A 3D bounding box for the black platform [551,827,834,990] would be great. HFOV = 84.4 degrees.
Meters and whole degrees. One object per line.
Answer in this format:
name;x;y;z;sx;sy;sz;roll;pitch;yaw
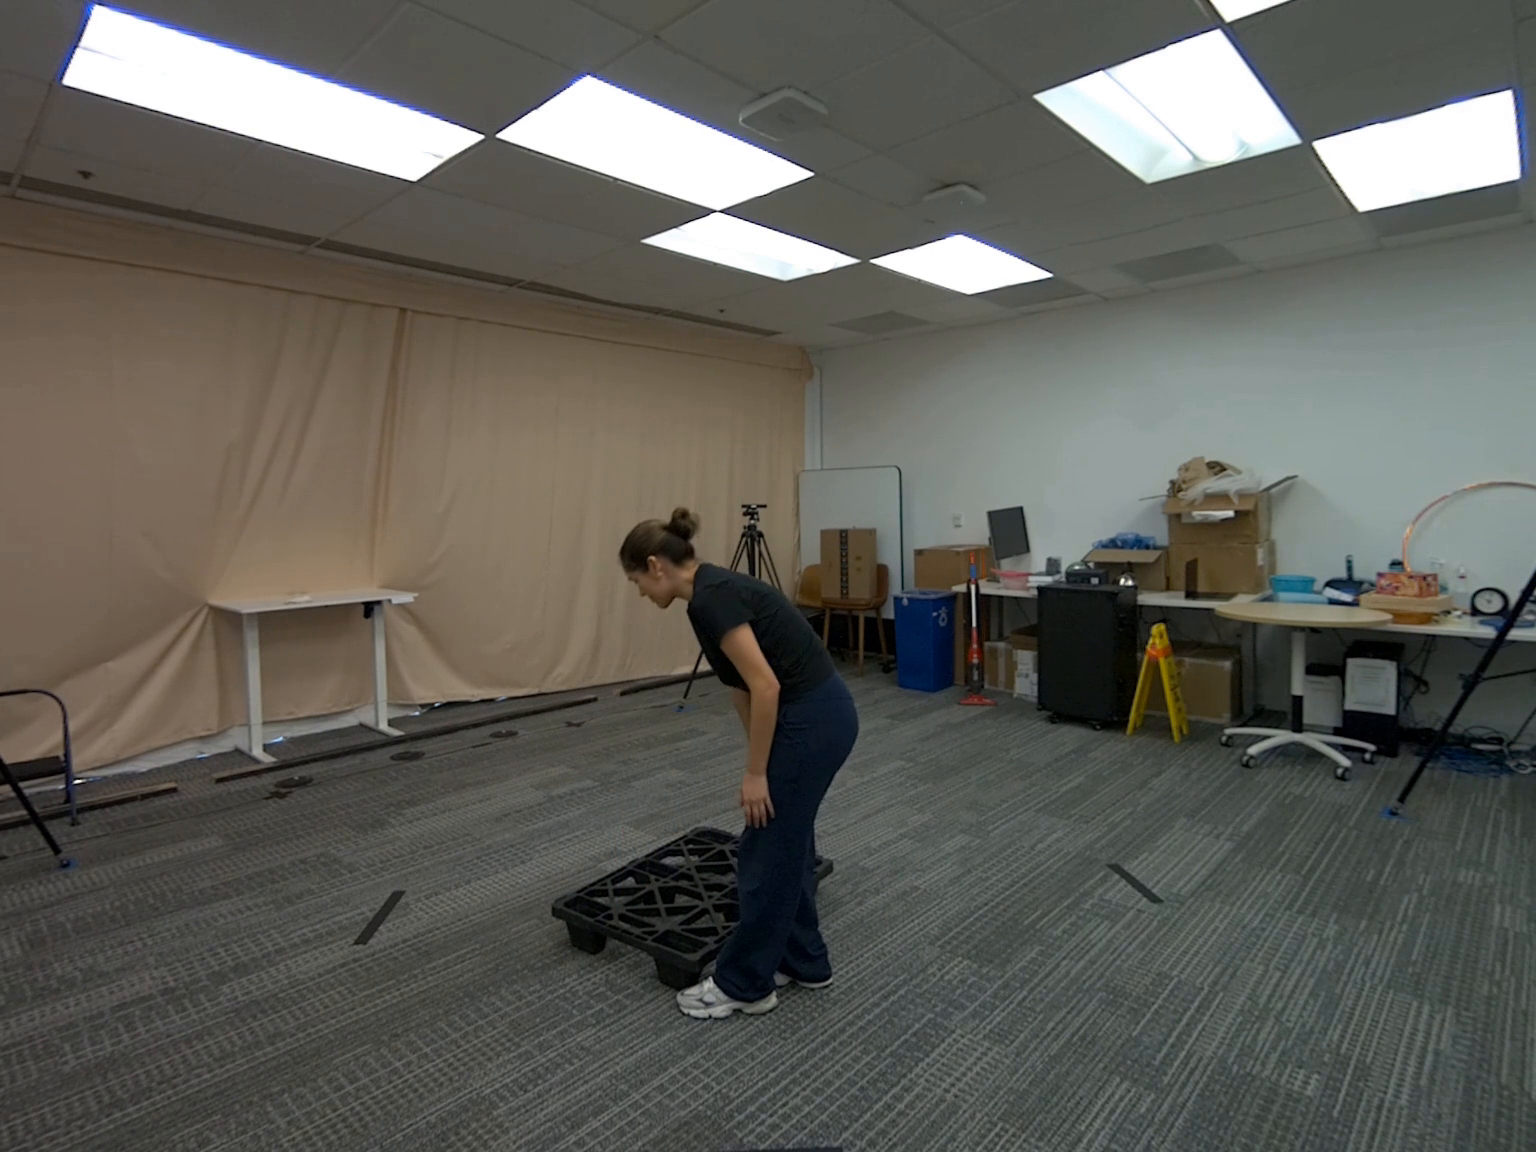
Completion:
black platform;-0.212;1.092;2.833;0.624;0.143;0.783;3;7;34
